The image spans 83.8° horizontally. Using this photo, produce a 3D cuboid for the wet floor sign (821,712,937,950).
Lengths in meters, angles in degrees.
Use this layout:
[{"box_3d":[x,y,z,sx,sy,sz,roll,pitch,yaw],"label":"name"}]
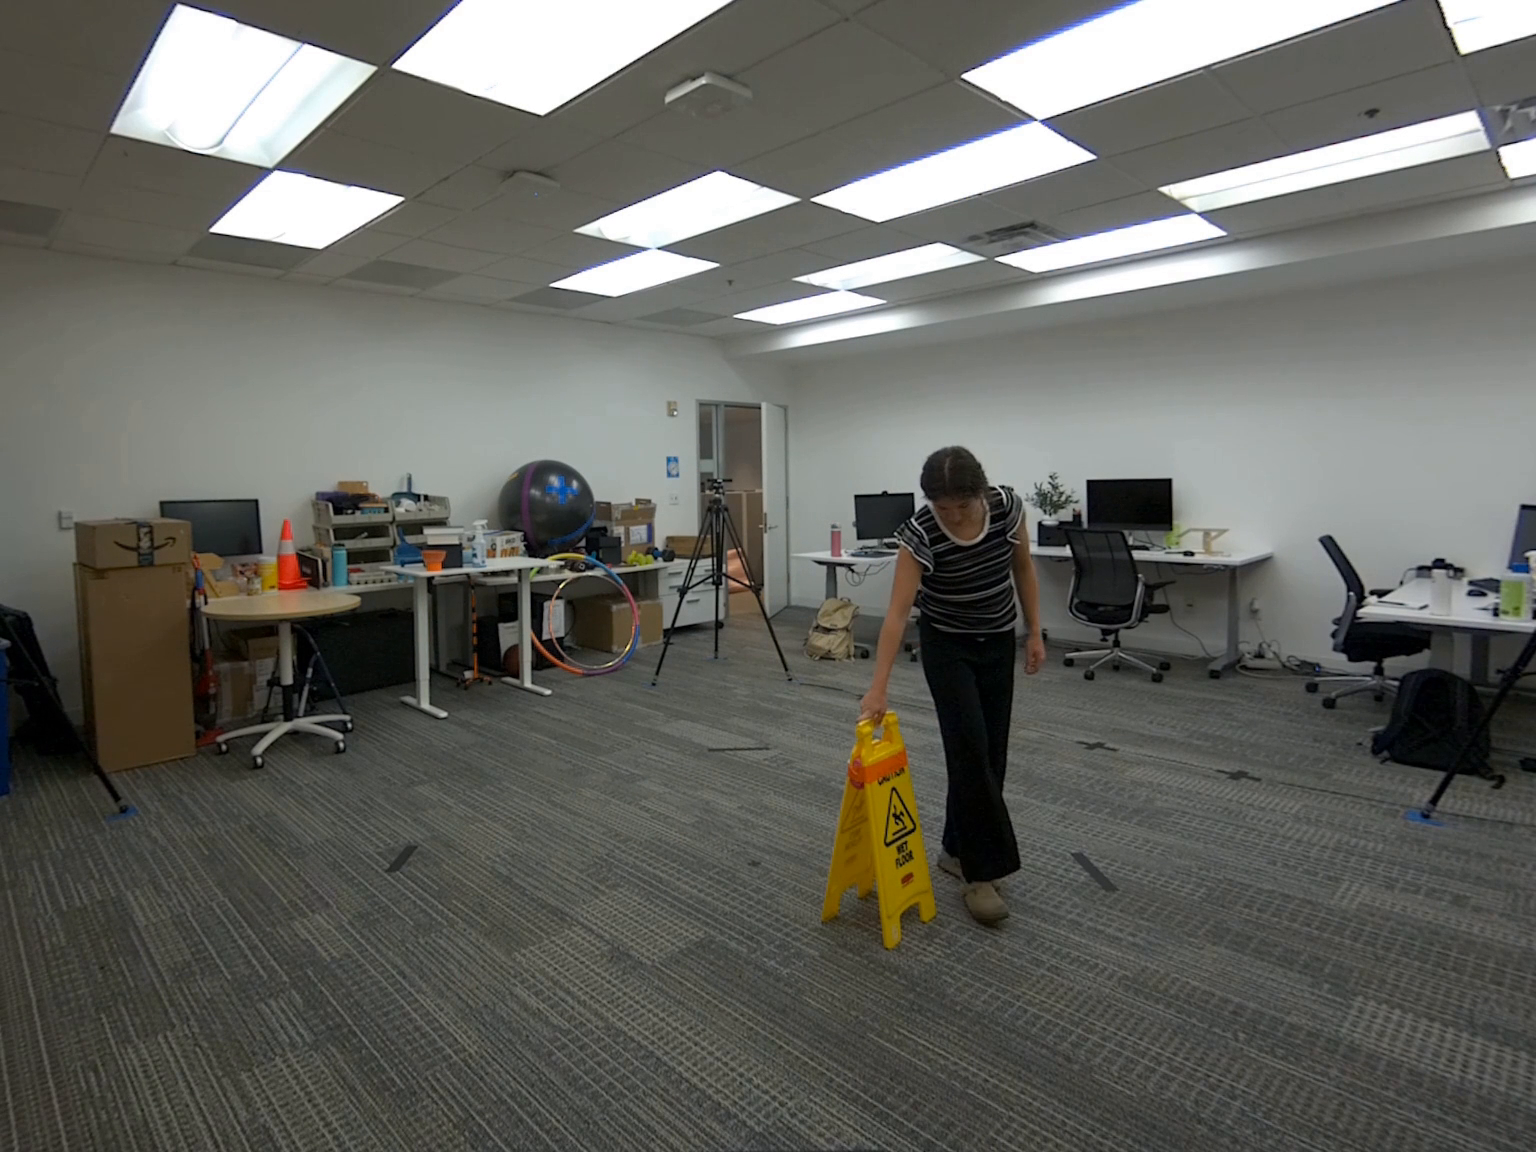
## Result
[{"box_3d":[0.353,0.763,2.679,0.299,0.643,0.275,5,7,41],"label":"wet floor sign"}]
